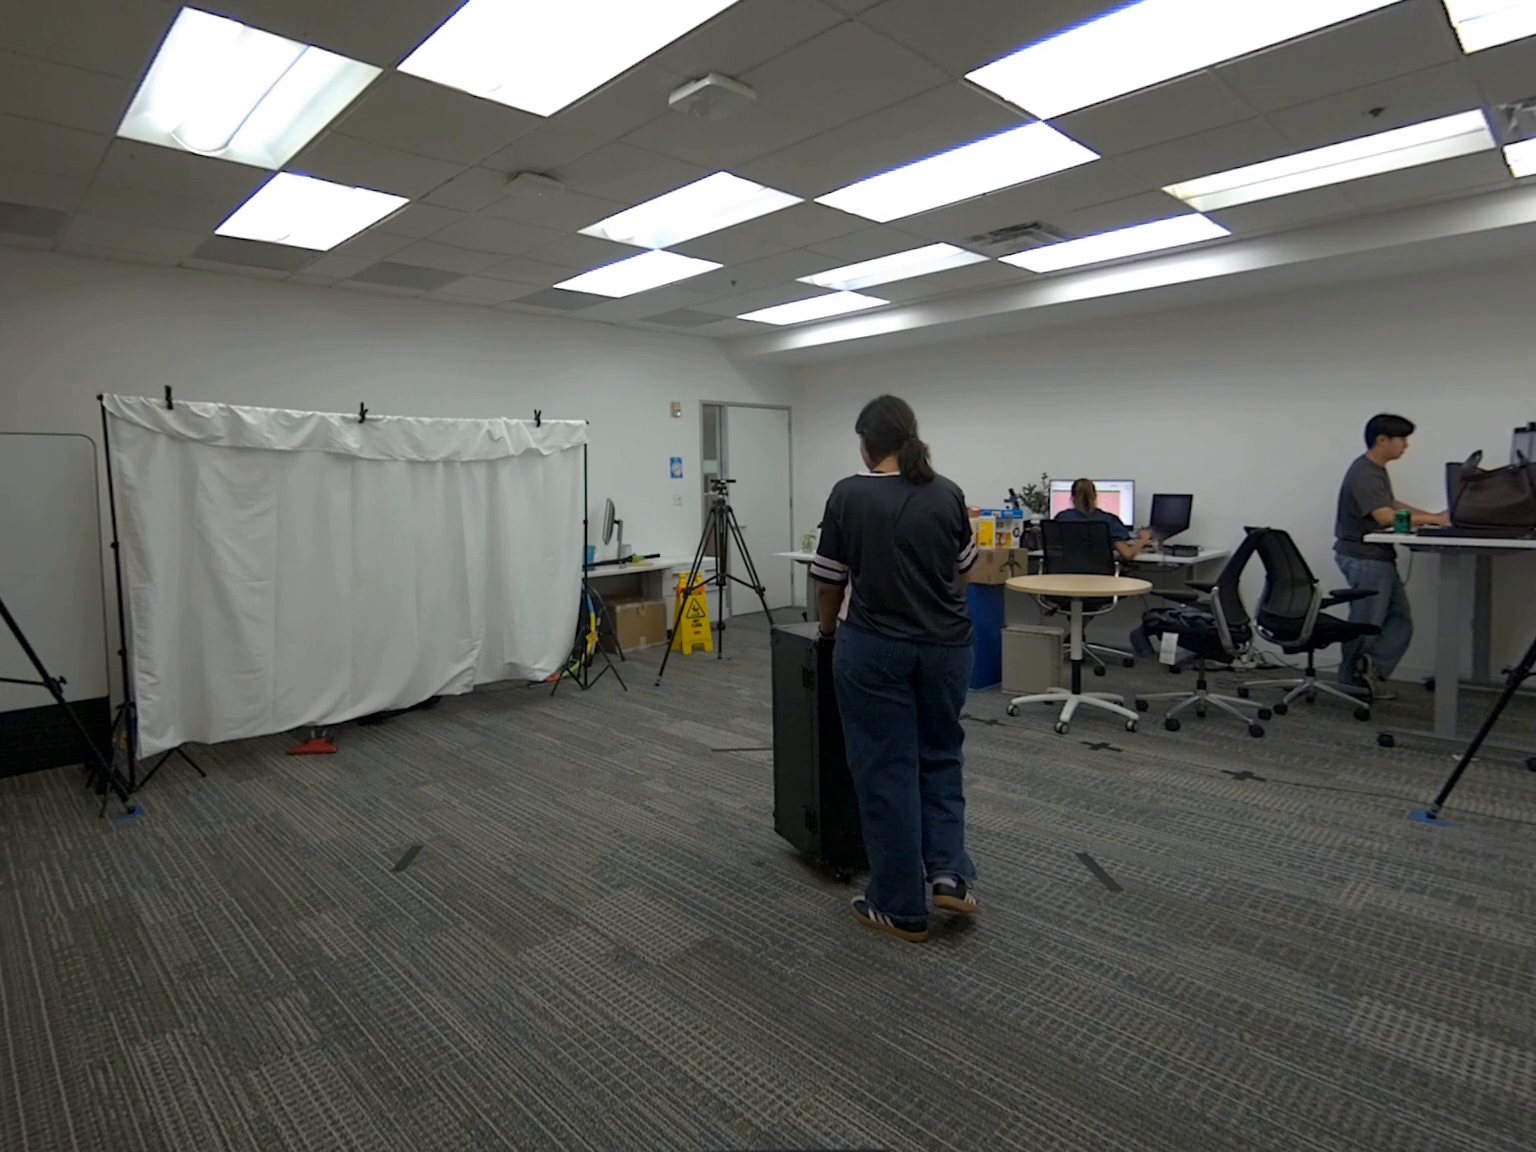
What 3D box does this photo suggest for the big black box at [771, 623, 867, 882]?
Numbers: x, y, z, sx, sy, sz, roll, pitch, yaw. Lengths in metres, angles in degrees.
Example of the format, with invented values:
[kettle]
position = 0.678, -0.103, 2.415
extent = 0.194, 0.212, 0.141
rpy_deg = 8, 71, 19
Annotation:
[big black box]
position = 0.304, 0.614, 3.138
extent = 0.513, 0.866, 0.394
rpy_deg = -2, 3, -24
